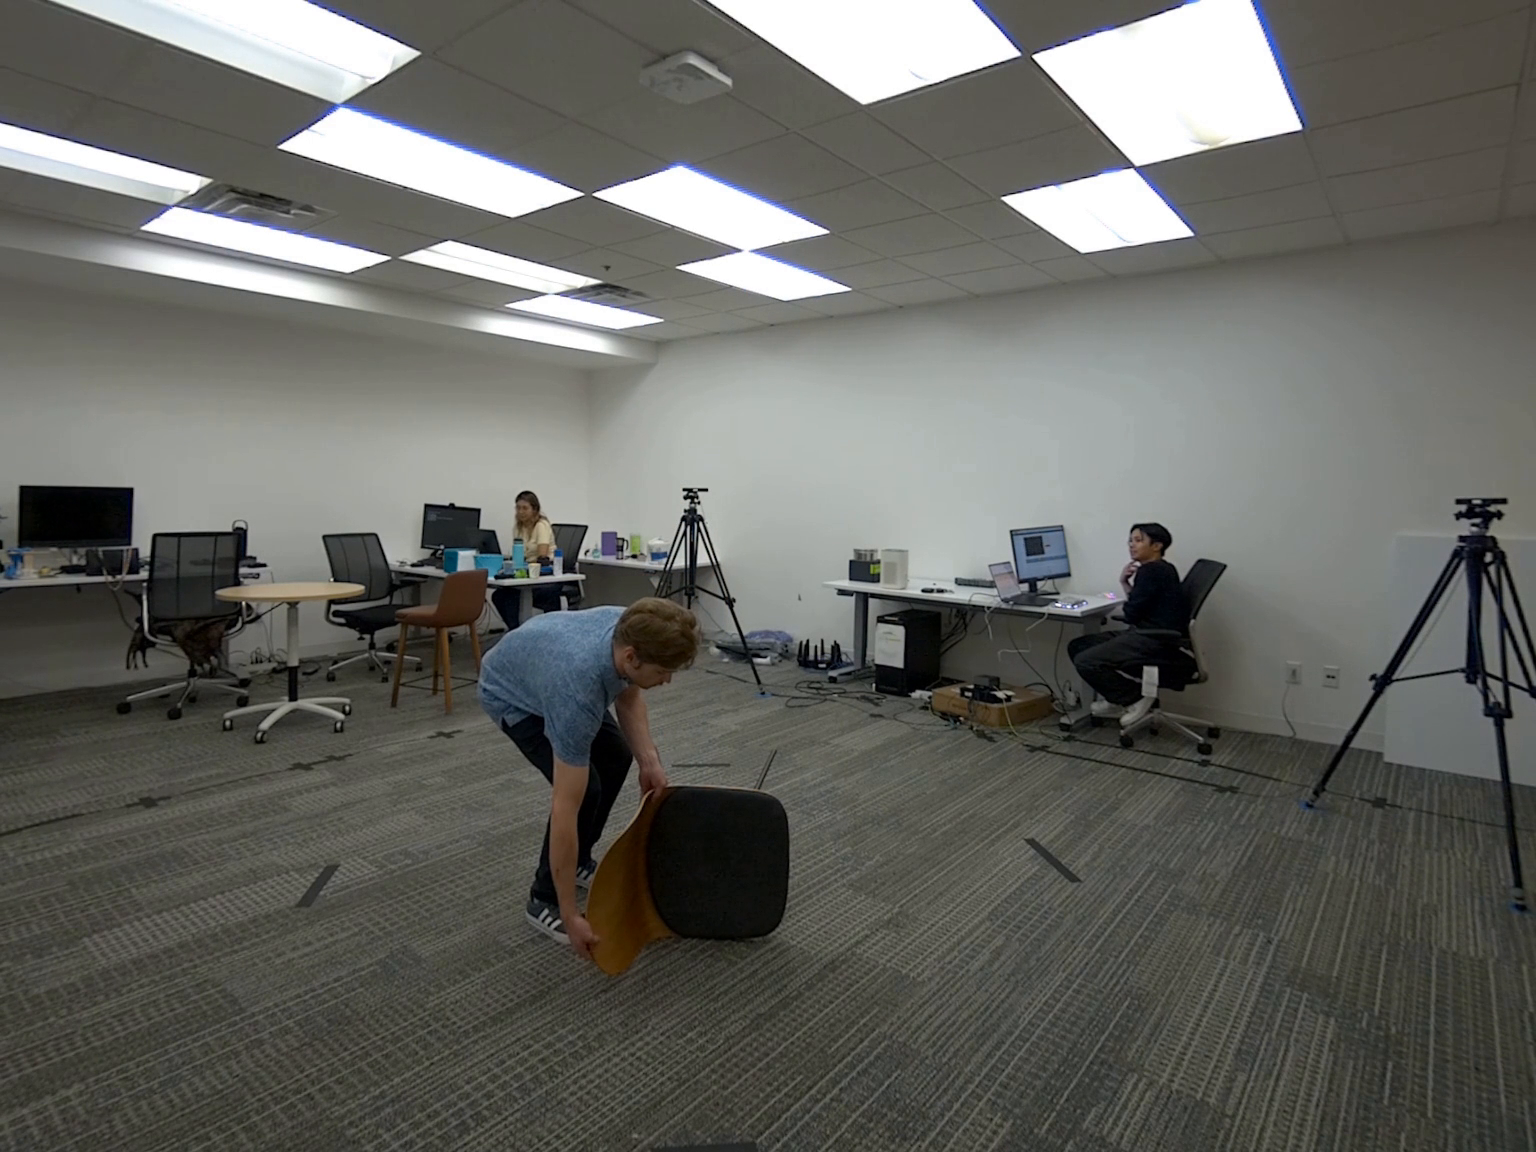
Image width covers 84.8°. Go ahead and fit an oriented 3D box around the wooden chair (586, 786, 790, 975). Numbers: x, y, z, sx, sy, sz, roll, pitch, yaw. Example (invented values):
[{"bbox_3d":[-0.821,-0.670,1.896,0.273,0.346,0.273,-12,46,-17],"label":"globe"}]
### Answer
[{"bbox_3d":[-0.208,0.885,2.669,0.526,0.477,0.874,3,4,4],"label":"wooden chair"}]
